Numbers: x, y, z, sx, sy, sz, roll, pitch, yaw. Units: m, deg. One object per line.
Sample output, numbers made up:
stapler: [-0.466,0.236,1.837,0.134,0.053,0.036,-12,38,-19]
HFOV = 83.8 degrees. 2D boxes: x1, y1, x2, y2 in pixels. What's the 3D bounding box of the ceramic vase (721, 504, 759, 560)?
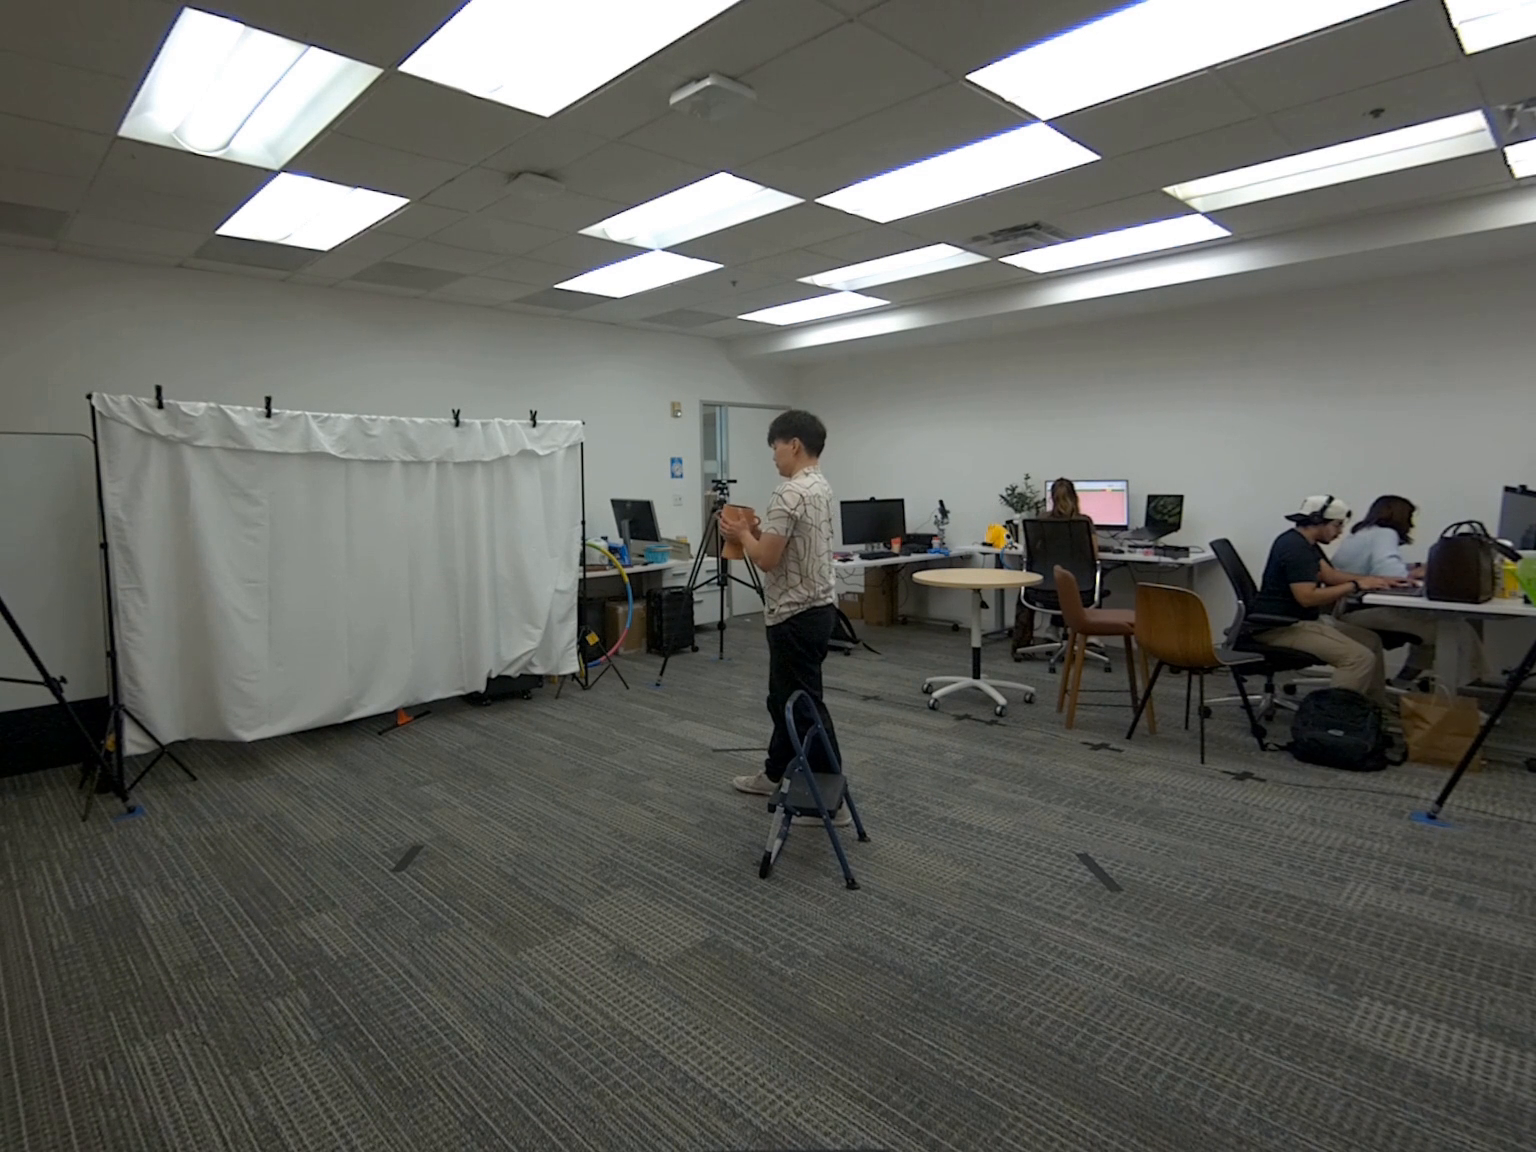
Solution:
ceramic vase: [-0.137,-0.188,3.592,0.164,0.219,0.130,12,6,41]
